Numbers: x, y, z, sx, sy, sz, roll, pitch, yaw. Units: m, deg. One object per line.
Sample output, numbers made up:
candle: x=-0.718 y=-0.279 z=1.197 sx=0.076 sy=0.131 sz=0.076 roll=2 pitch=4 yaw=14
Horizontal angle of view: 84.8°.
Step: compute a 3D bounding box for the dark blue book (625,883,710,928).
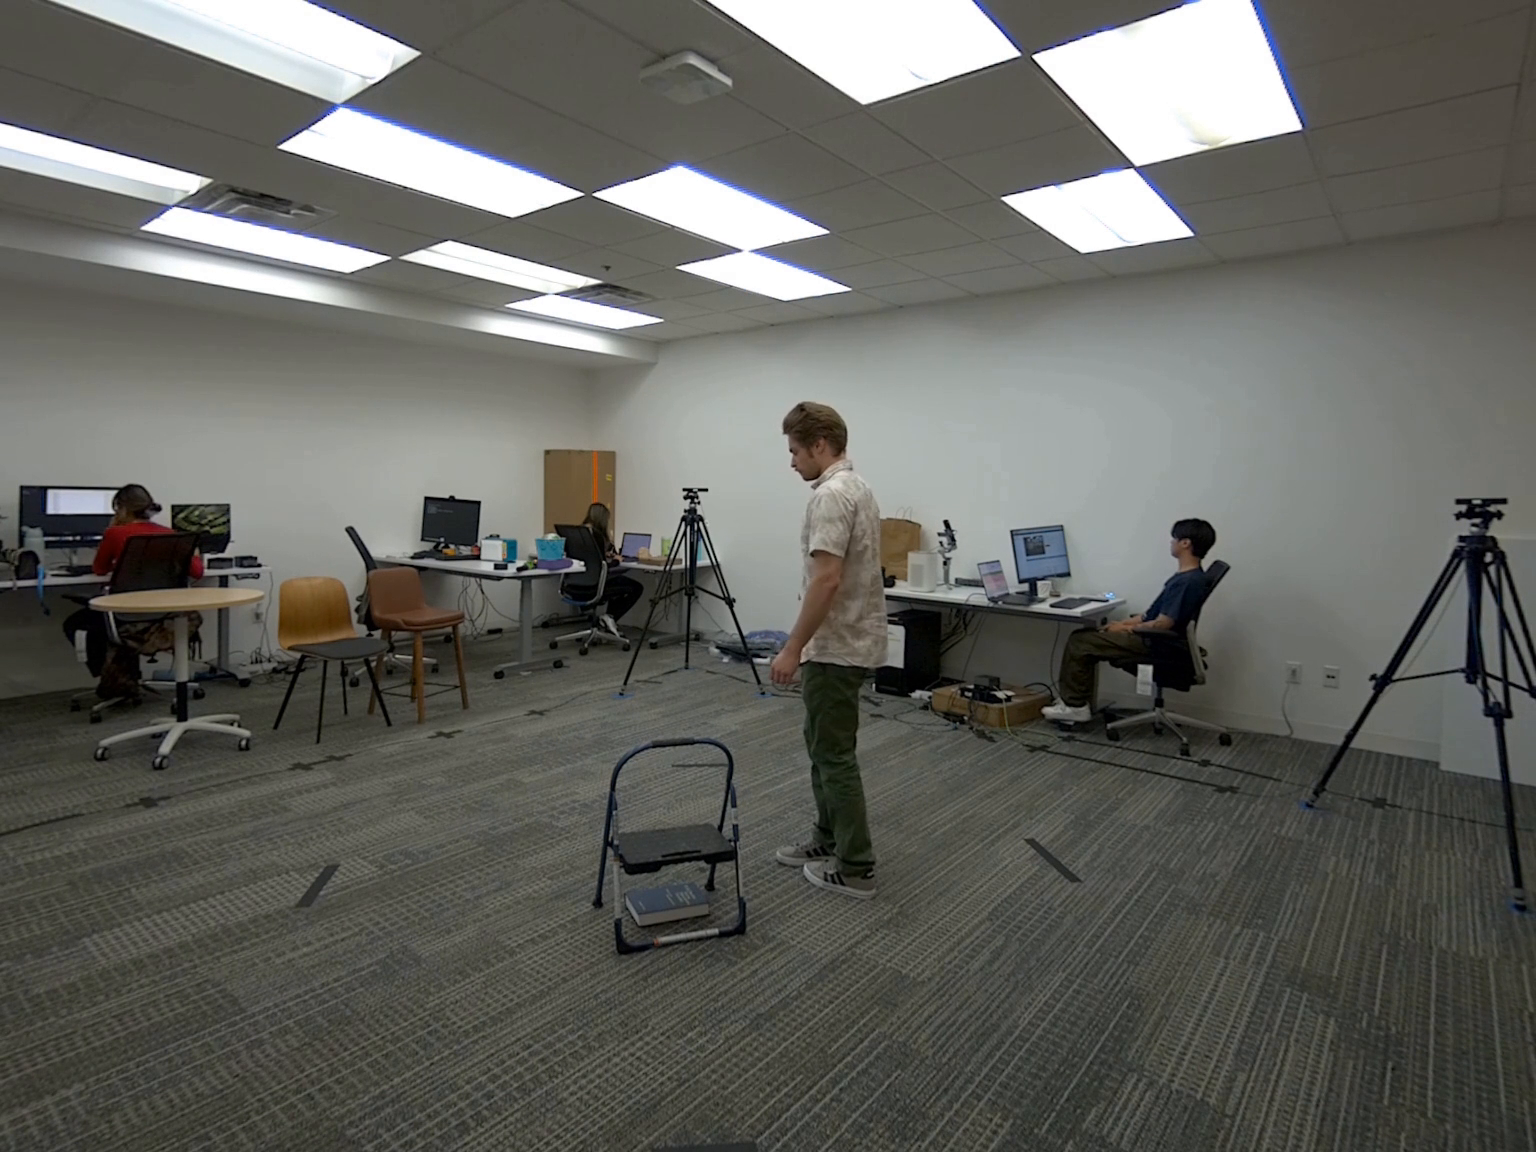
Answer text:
dark blue book: x=-0.344 y=1.074 z=2.787 sx=0.239 sy=0.045 sz=0.167 roll=0 pitch=5 yaw=-23
